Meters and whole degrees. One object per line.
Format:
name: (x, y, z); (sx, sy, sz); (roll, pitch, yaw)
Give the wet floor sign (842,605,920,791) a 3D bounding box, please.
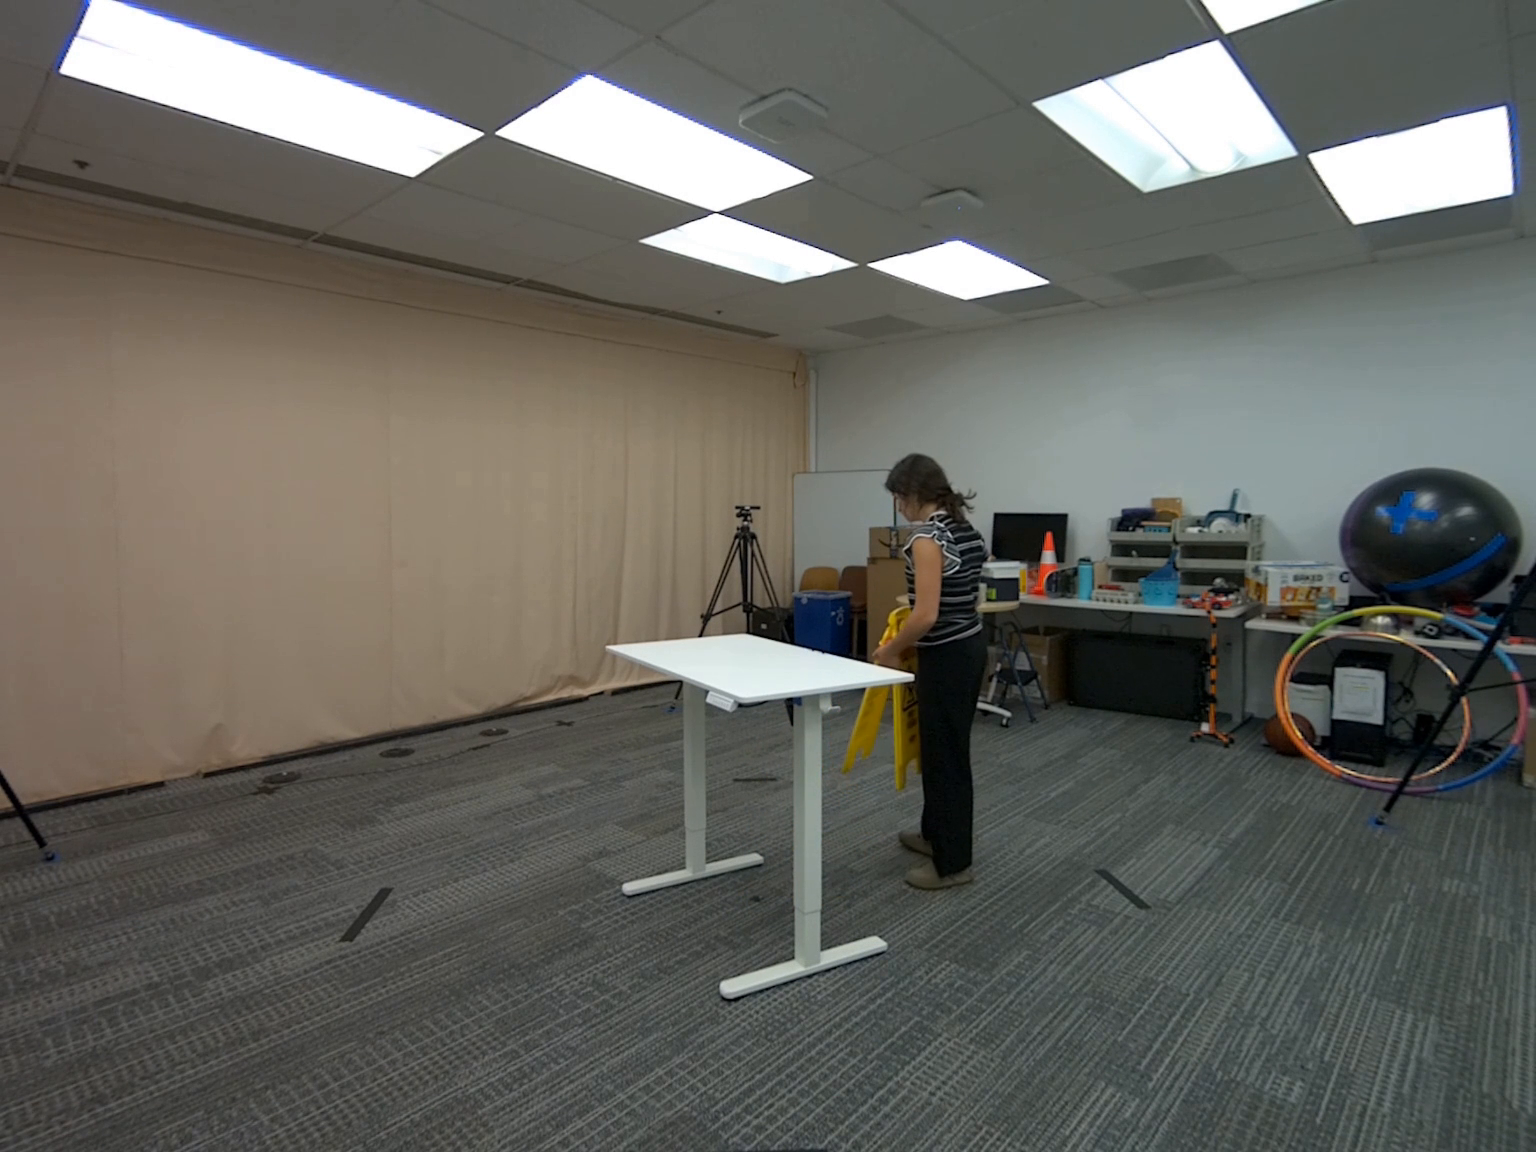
wet floor sign: (0.493, 0.451, 3.243); (0.299, 0.643, 0.275); (8, 10, 31)
